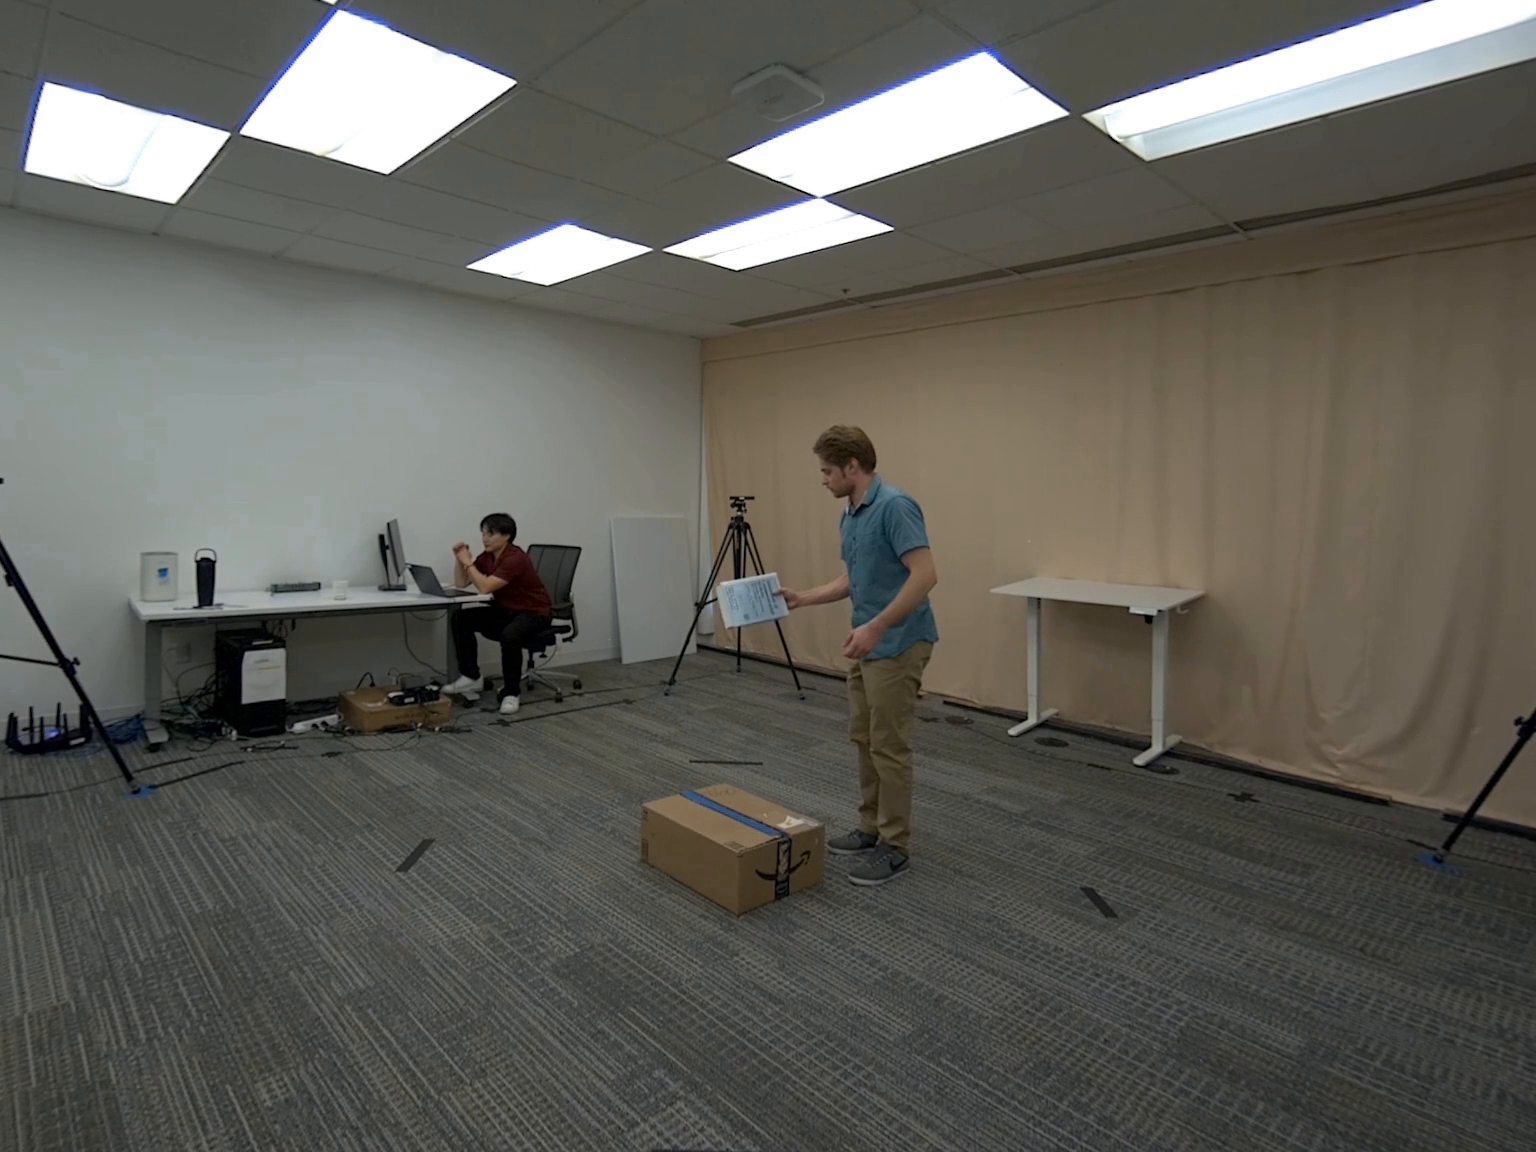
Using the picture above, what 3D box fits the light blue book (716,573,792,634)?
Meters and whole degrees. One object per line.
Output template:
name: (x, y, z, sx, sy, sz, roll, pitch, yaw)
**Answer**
light blue book: (-0.058, 0.106, 3.414, 0.257, 0.194, 0.059, -10, -18, -27)
